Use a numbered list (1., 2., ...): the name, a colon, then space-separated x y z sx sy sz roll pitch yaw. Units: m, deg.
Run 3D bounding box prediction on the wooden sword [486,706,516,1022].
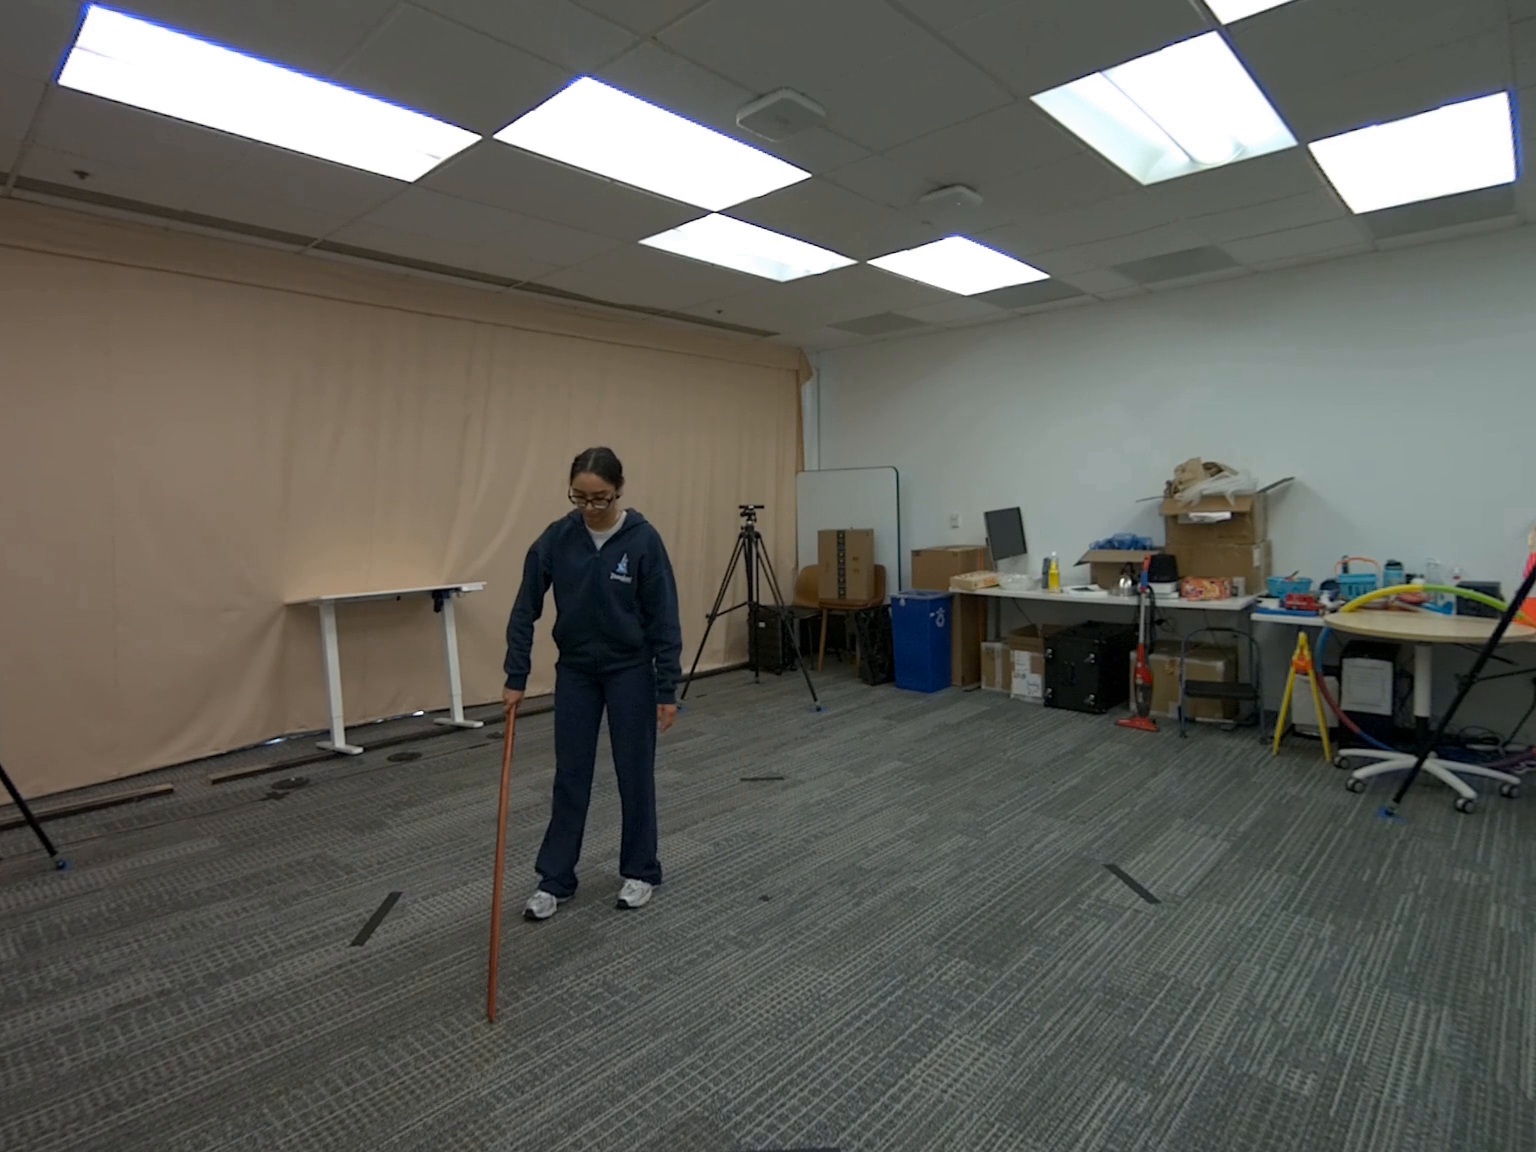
1. wooden sword: -0.806 0.809 2.614 0.050 1.047 0.024 11 -42 -23
